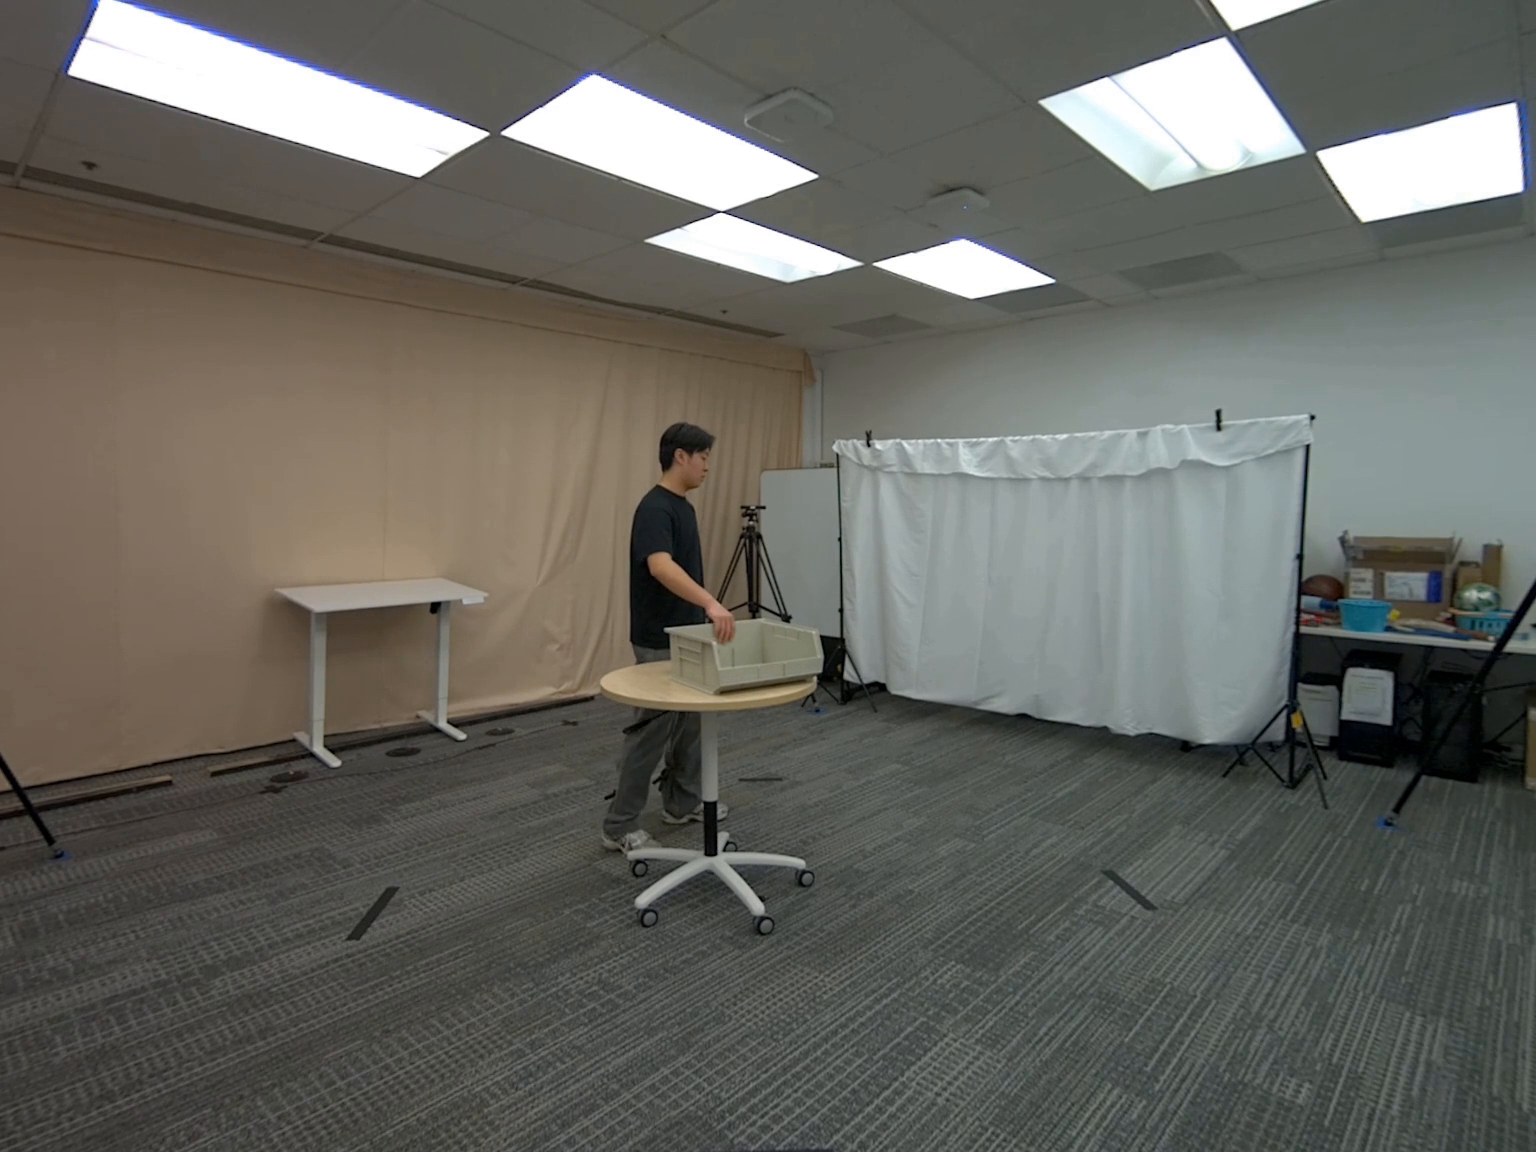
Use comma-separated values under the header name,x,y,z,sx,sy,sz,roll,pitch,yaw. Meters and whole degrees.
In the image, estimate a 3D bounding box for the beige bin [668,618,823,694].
name,x,y,z,sx,sy,sz,roll,pitch,yaw
beige bin,-0.081,0.277,2.930,0.411,0.188,0.388,-4,4,-31
